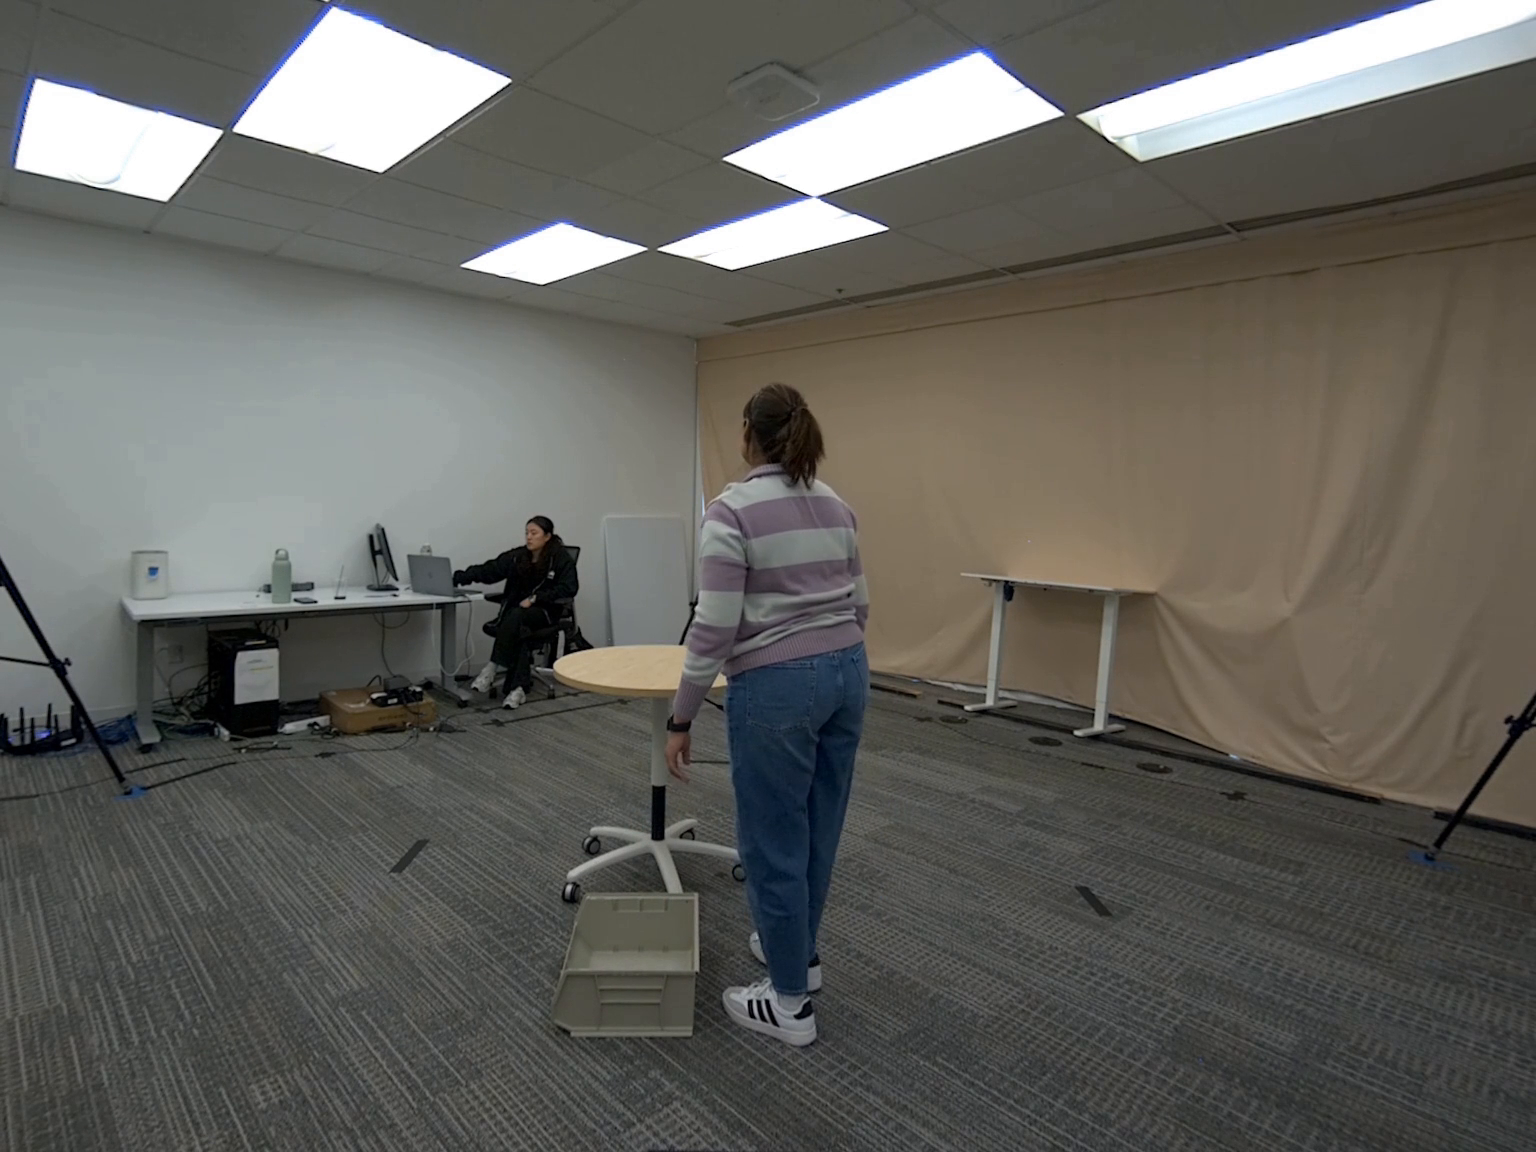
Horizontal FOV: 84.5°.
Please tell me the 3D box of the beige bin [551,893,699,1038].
[{"bbox_3d":[-0.392,1.081,2.360,0.376,0.188,0.425,2,5,-4],"label":"beige bin"}]
